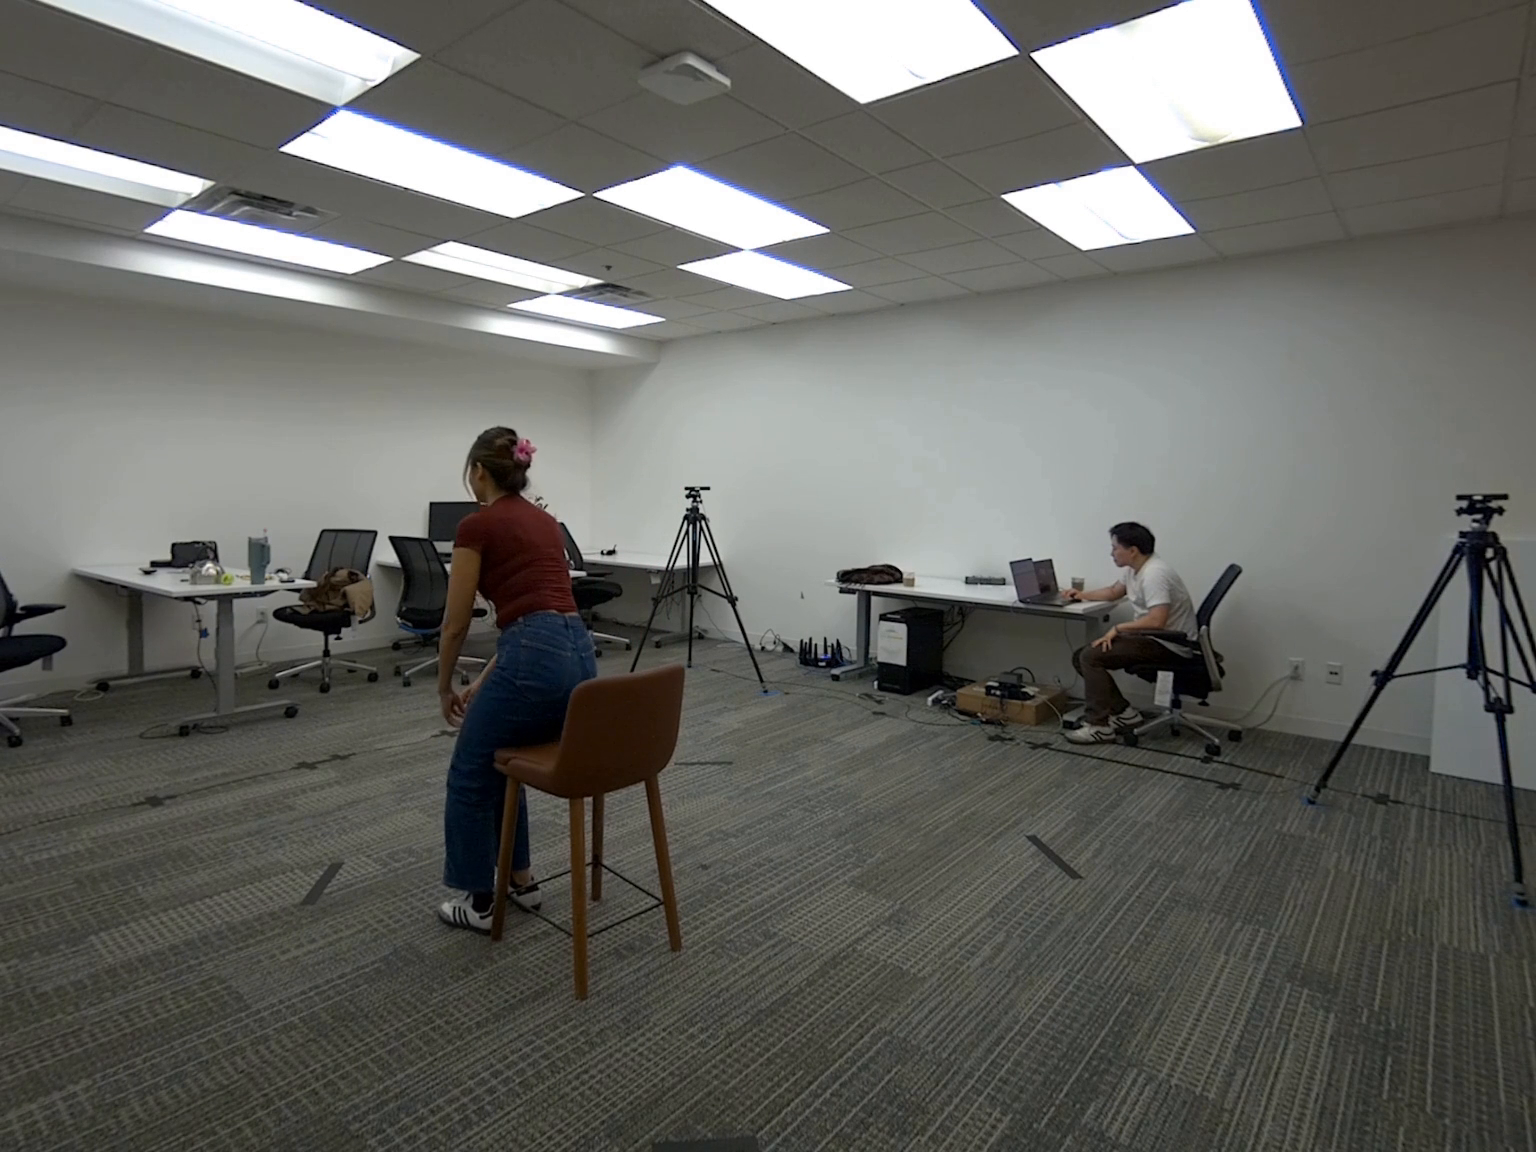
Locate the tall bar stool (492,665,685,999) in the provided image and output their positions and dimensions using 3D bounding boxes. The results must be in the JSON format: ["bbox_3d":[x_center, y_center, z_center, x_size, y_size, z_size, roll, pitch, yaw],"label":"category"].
[{"bbox_3d":[-0.548,0.685,2.551,0.484,0.886,0.443,6,7,44],"label":"tall bar stool"}]
